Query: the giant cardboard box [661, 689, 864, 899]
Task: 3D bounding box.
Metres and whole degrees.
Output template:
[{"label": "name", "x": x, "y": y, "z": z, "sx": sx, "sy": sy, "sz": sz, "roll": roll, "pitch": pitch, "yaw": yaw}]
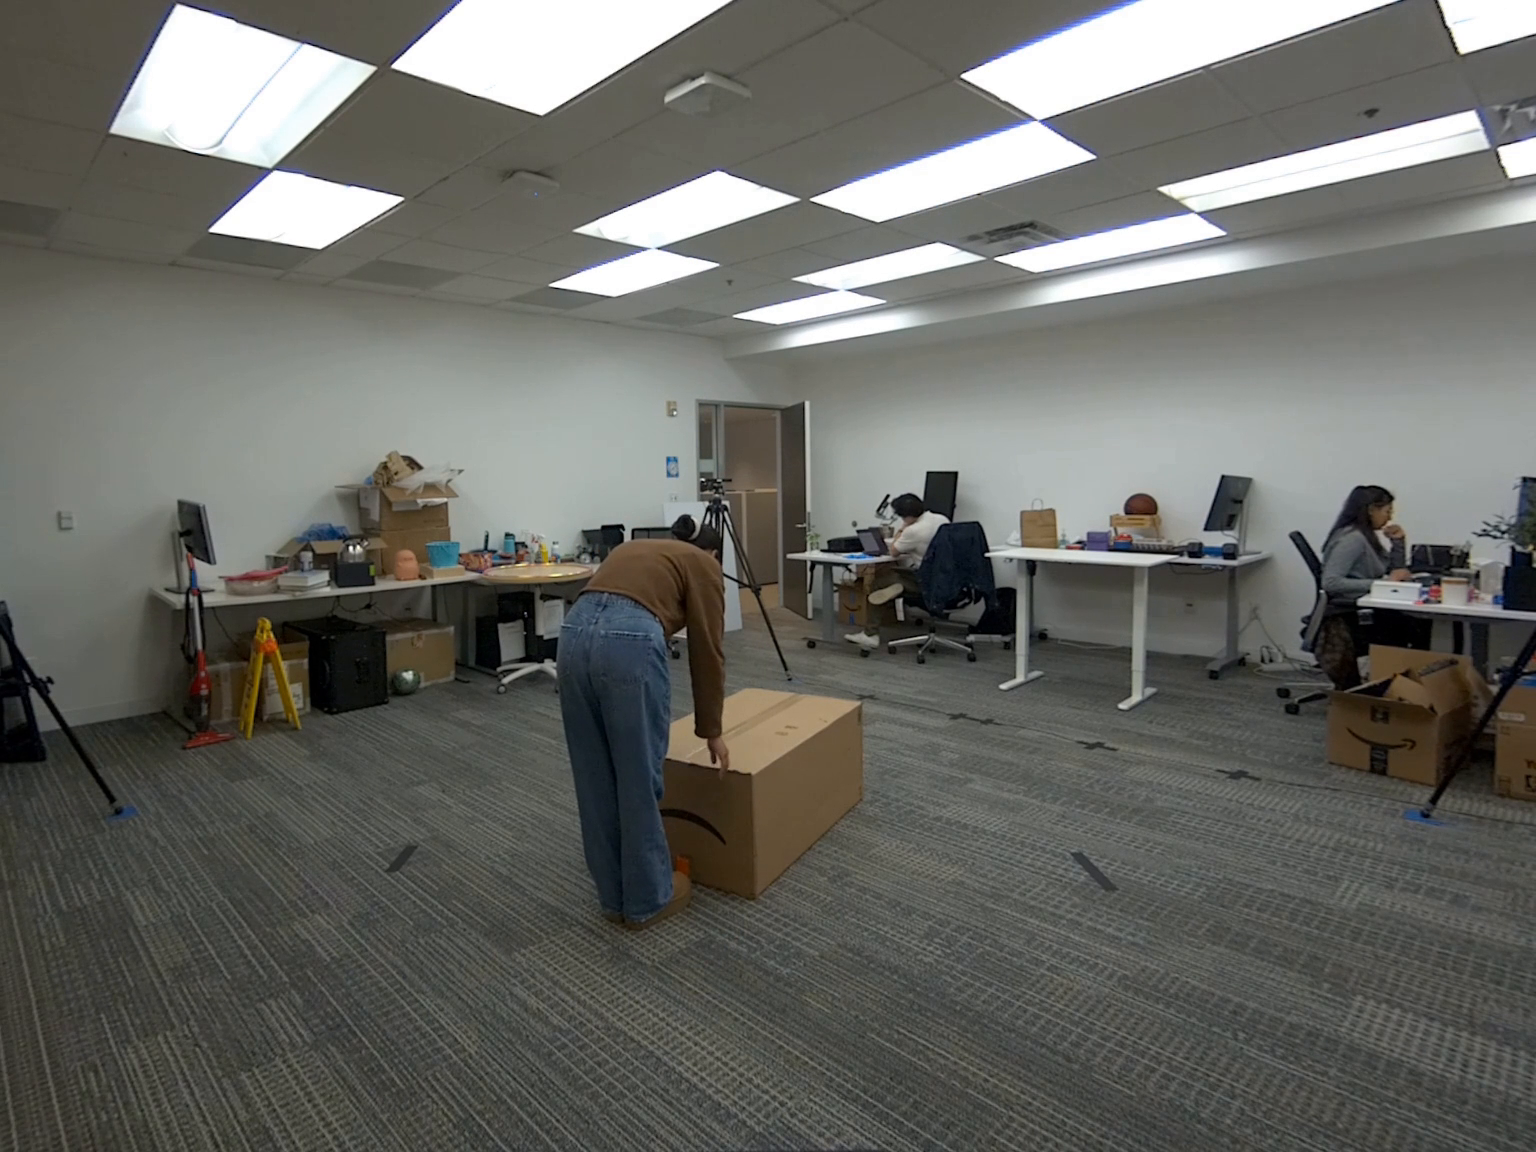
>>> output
[{"label": "giant cardboard box", "x": -0.071, "y": 0.797, "z": 3.411, "sx": 0.598, "sy": 0.445, "sz": 1.005, "roll": 1, "pitch": 6, "yaw": 28}]
